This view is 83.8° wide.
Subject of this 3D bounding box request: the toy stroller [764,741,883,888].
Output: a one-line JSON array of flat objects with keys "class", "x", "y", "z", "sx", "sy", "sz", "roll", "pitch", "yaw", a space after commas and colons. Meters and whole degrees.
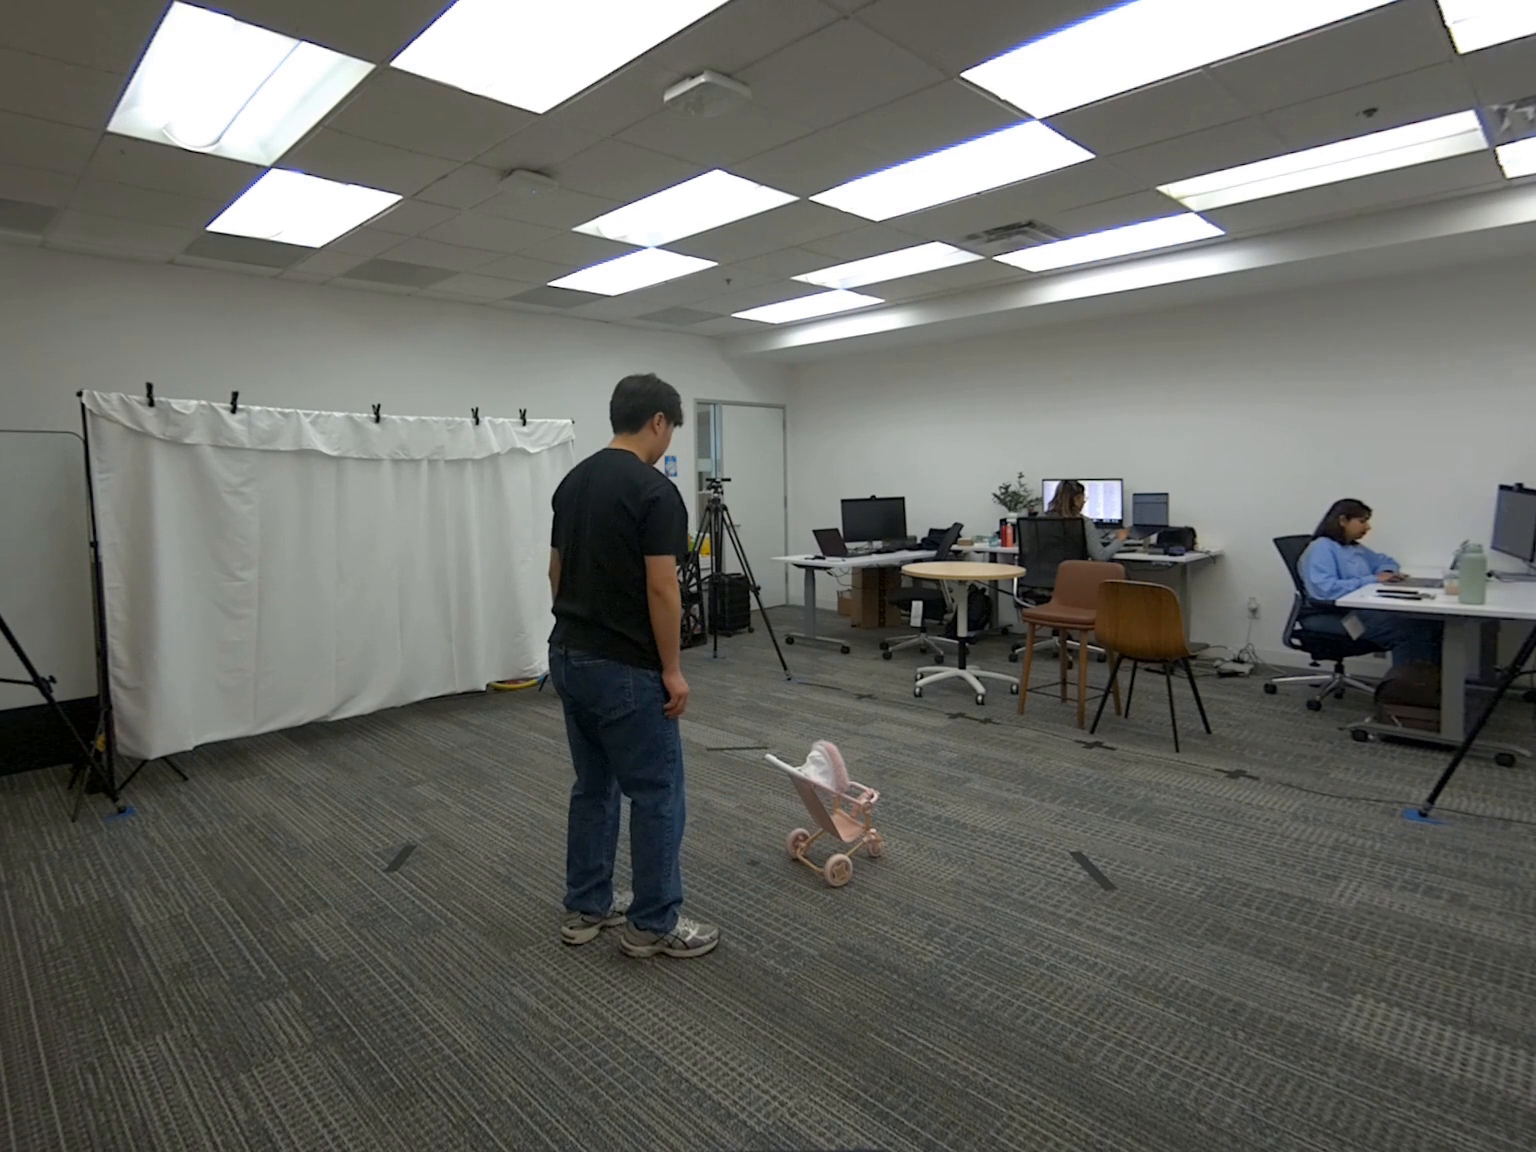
[{"class": "toy stroller", "x": 0.234, "y": 0.822, "z": 3.041, "sx": 0.337, "sy": 0.529, "sz": 0.288, "roll": -20, "pitch": 11, "yaw": -22}]
